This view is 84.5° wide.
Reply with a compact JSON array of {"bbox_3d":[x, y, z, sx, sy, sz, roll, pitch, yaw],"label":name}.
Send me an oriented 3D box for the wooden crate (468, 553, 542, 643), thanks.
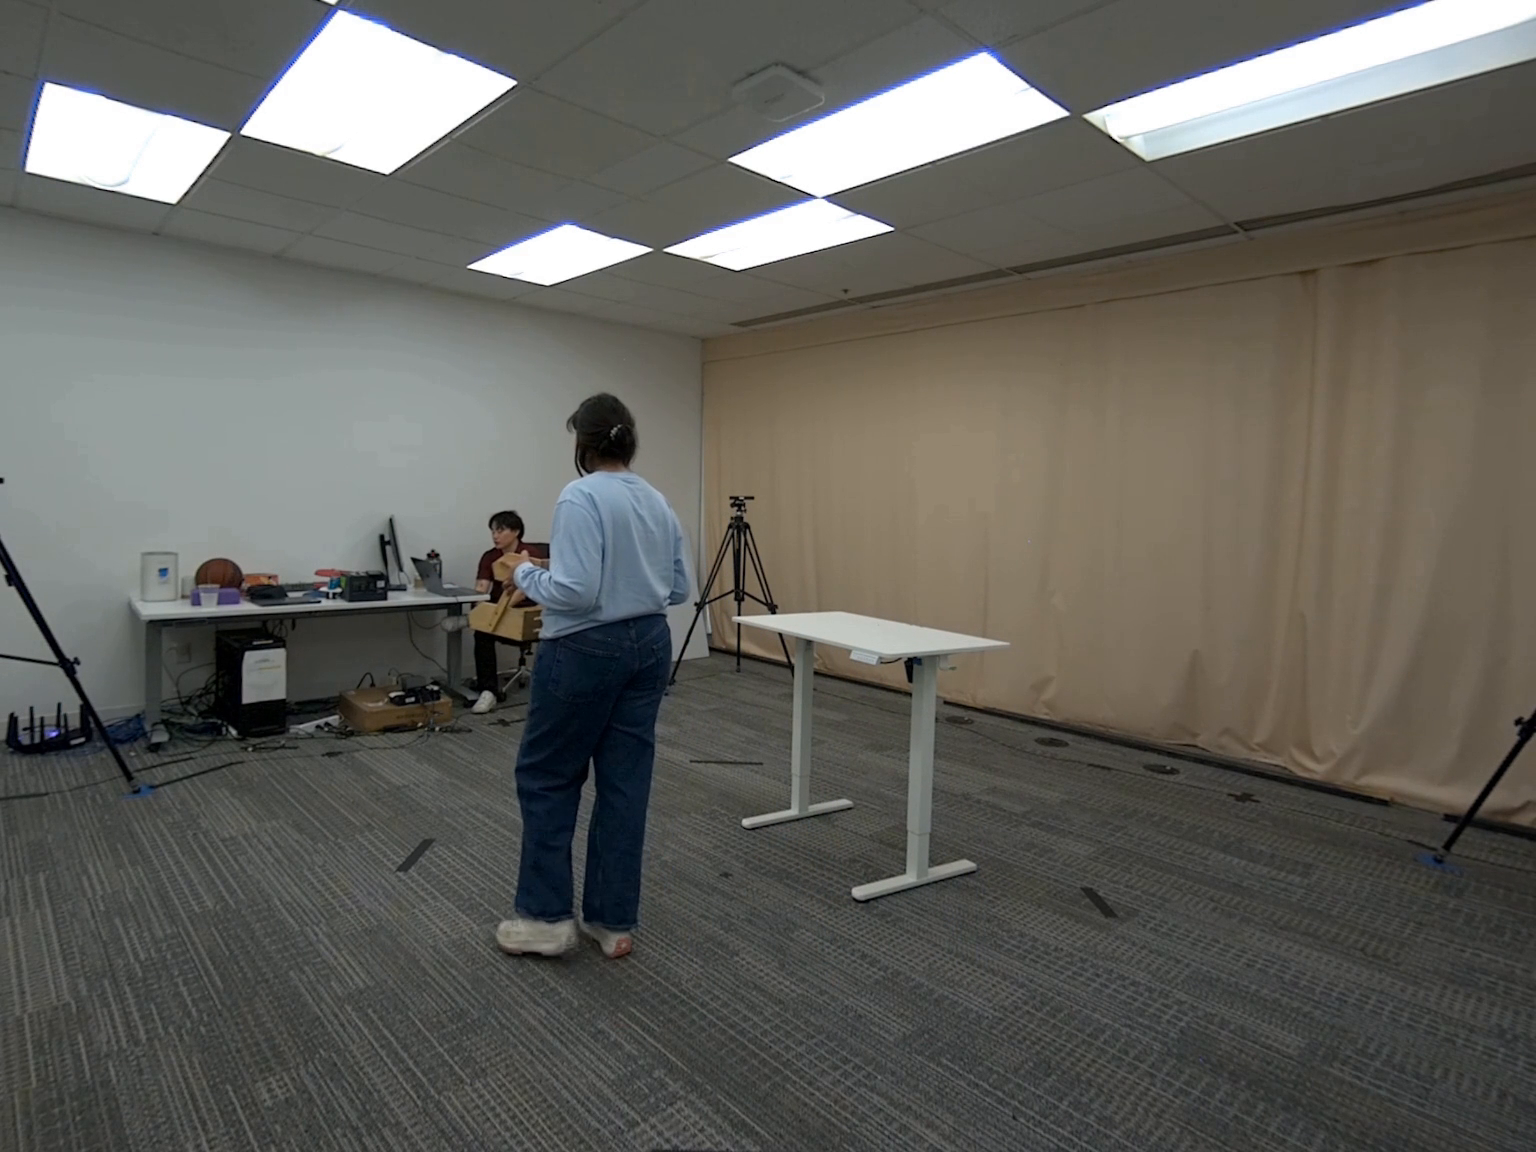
[{"bbox_3d":[-0.752,0.048,2.754,0.309,0.272,0.318,10,7,30],"label":"wooden crate"}]
